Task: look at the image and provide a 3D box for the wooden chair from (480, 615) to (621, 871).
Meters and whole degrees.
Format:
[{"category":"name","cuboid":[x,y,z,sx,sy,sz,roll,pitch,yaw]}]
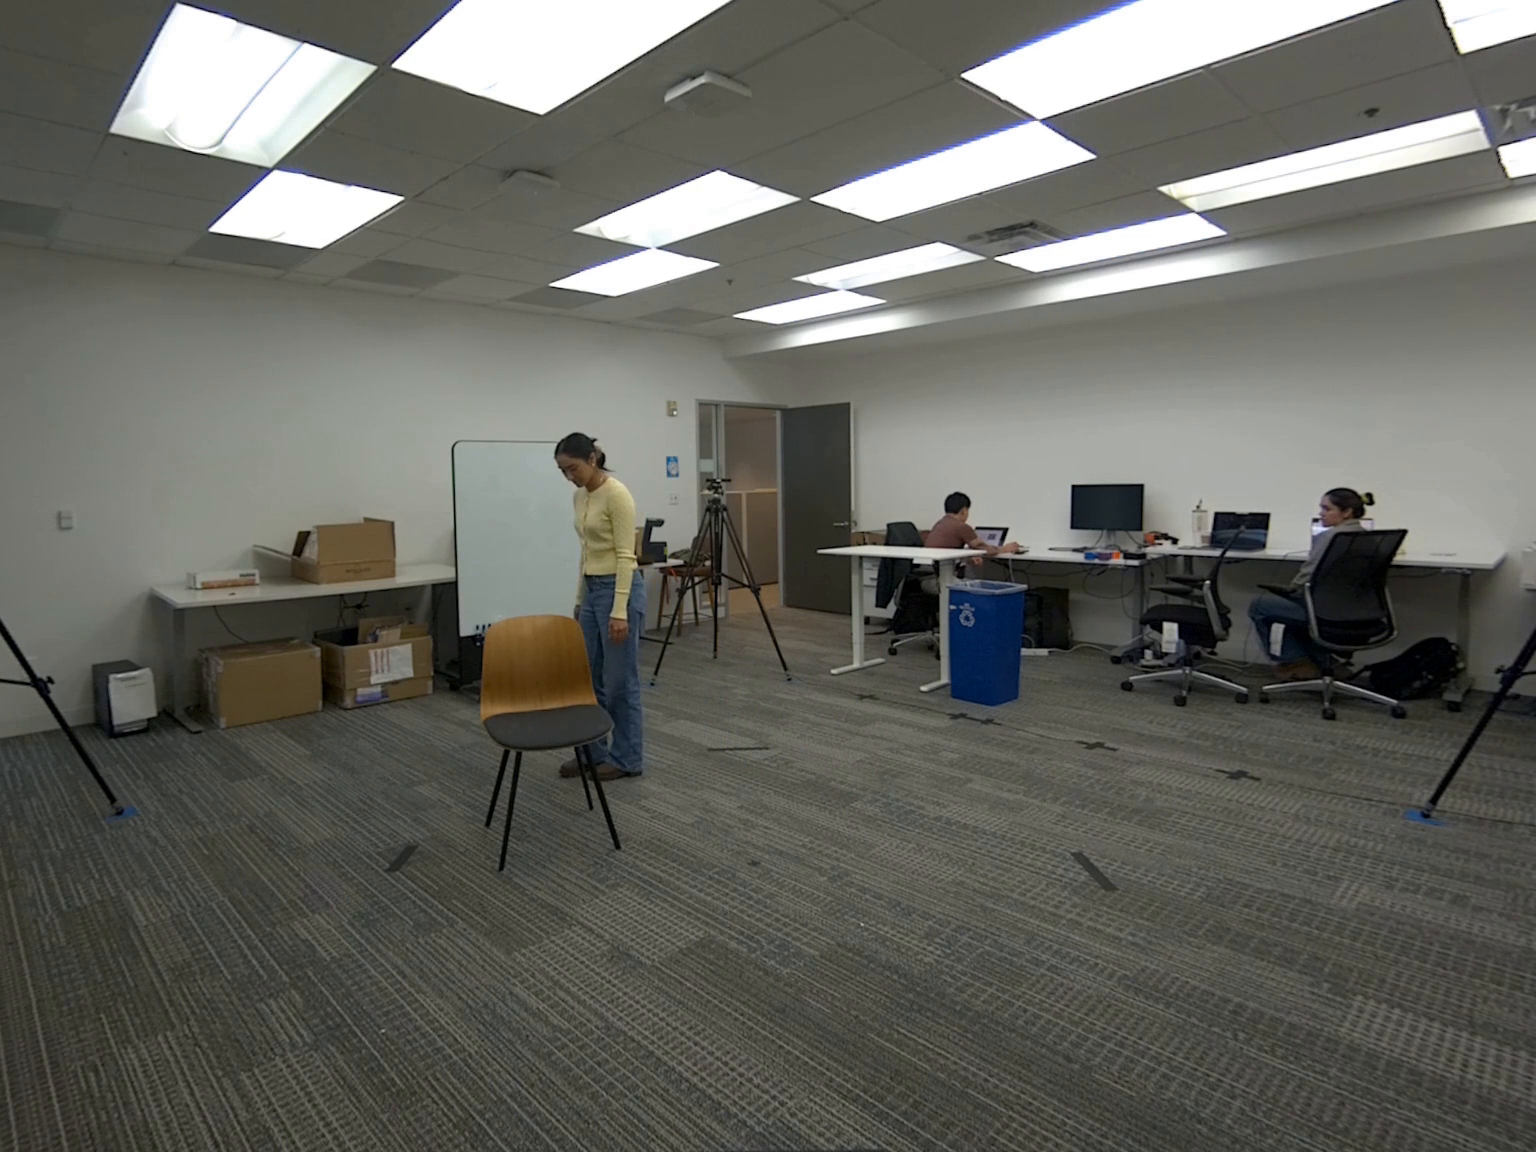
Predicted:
[{"category":"wooden chair","cuboid":[-0.860,0.612,3.326,0.469,0.878,0.533,-2,0,-23]}]
